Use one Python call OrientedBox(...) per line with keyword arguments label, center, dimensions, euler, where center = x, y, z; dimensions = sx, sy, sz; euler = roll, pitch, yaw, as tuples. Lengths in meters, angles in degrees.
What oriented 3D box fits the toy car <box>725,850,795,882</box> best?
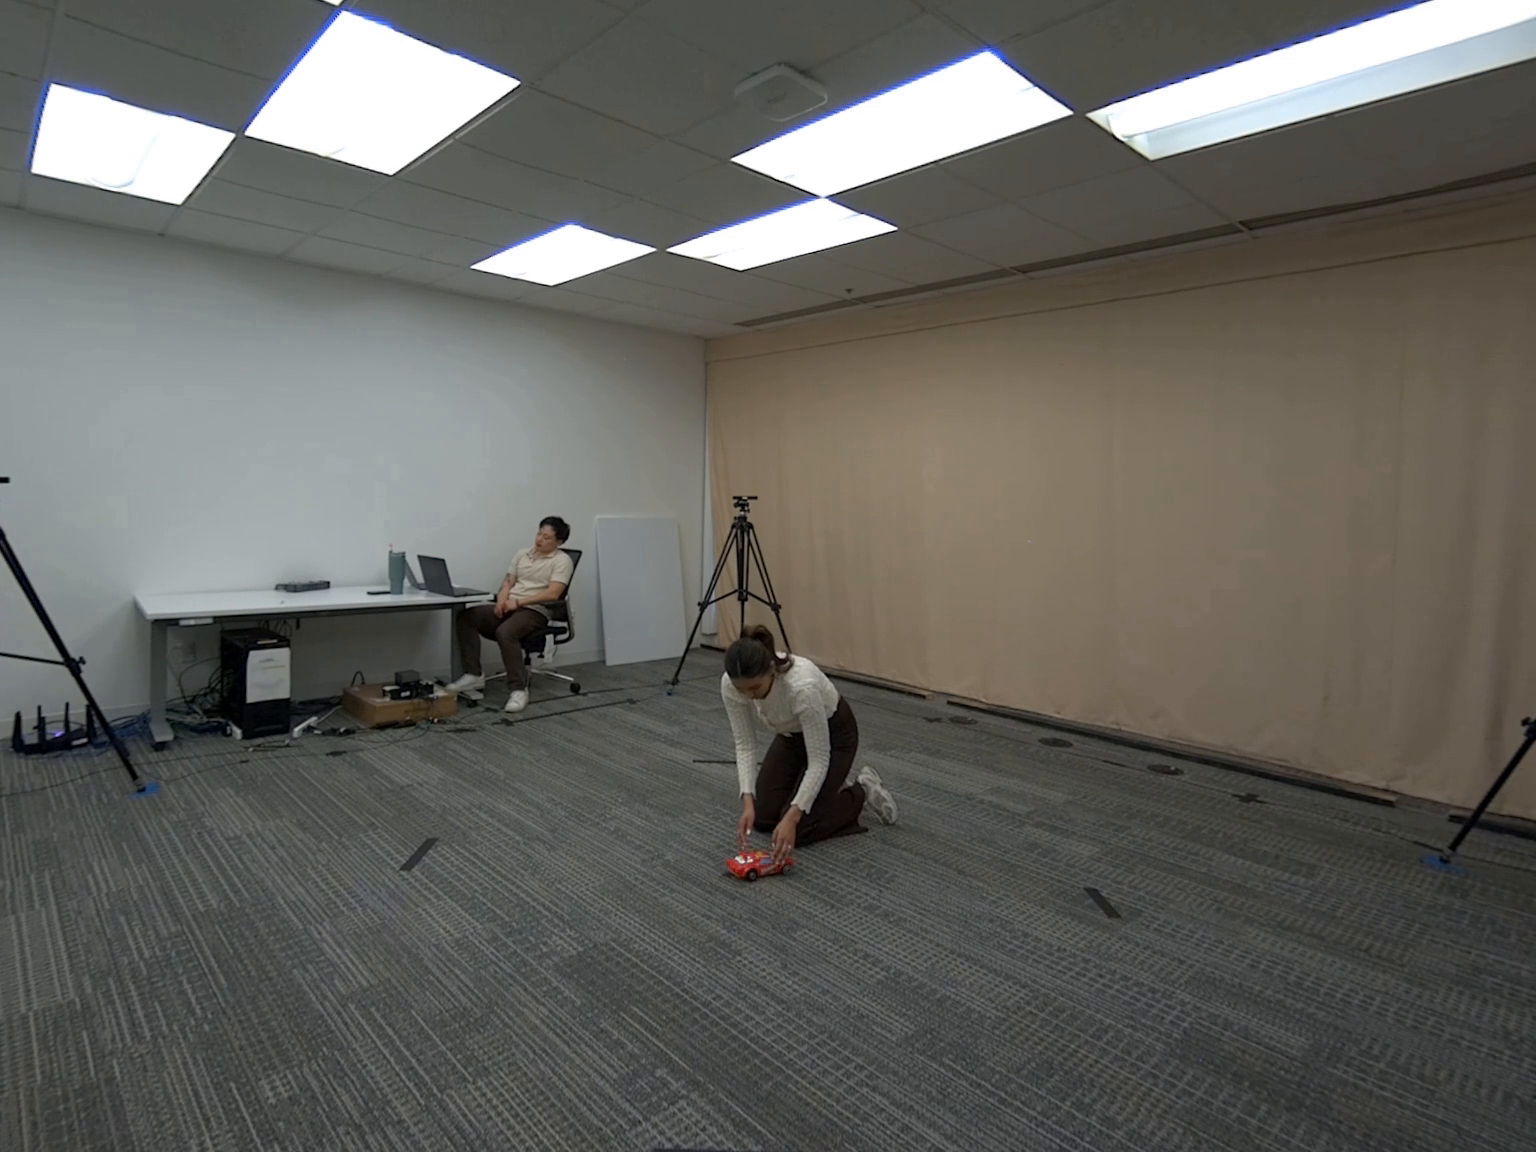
OrientedBox(label="toy car", center=(-0.047, 1.067, 3.119), dimensions=(0.249, 0.083, 0.133), euler=(12, -1, -25))
